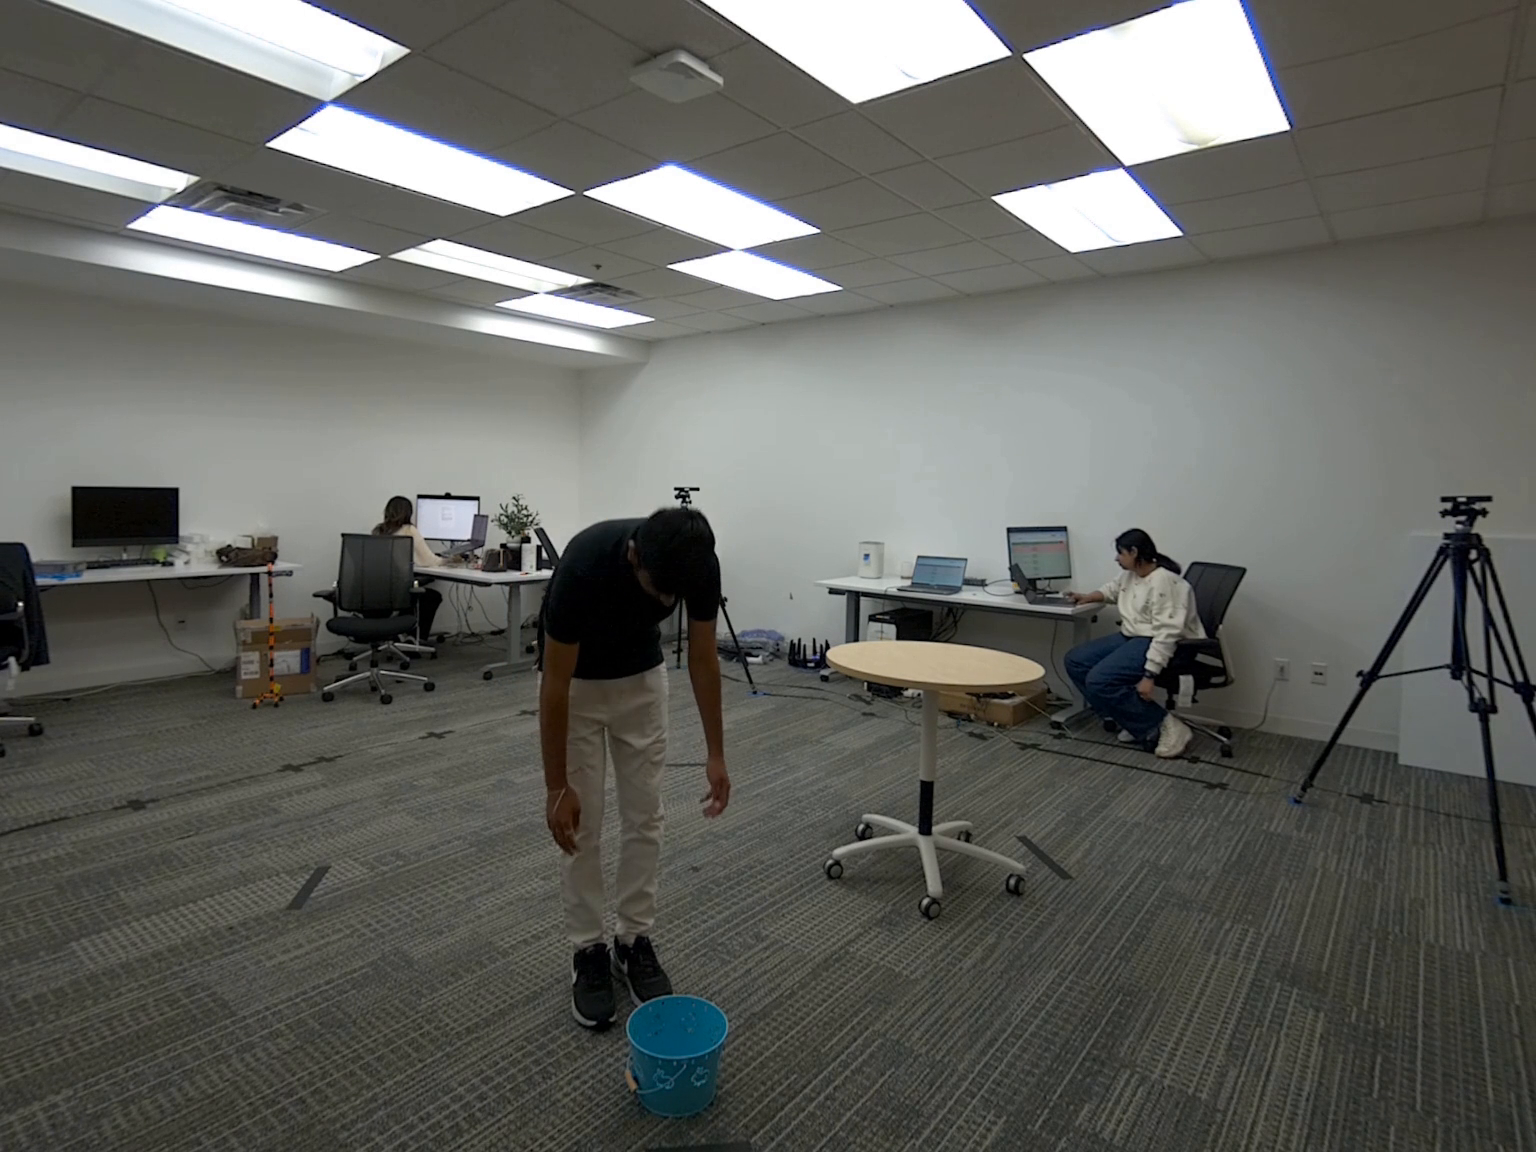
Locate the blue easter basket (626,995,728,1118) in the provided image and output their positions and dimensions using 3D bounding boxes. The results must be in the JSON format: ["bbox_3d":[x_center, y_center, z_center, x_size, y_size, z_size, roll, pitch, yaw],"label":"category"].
[{"bbox_3d":[-0.213,1.103,1.973,0.243,0.155,0.245,1,5,-2],"label":"blue easter basket"}]
